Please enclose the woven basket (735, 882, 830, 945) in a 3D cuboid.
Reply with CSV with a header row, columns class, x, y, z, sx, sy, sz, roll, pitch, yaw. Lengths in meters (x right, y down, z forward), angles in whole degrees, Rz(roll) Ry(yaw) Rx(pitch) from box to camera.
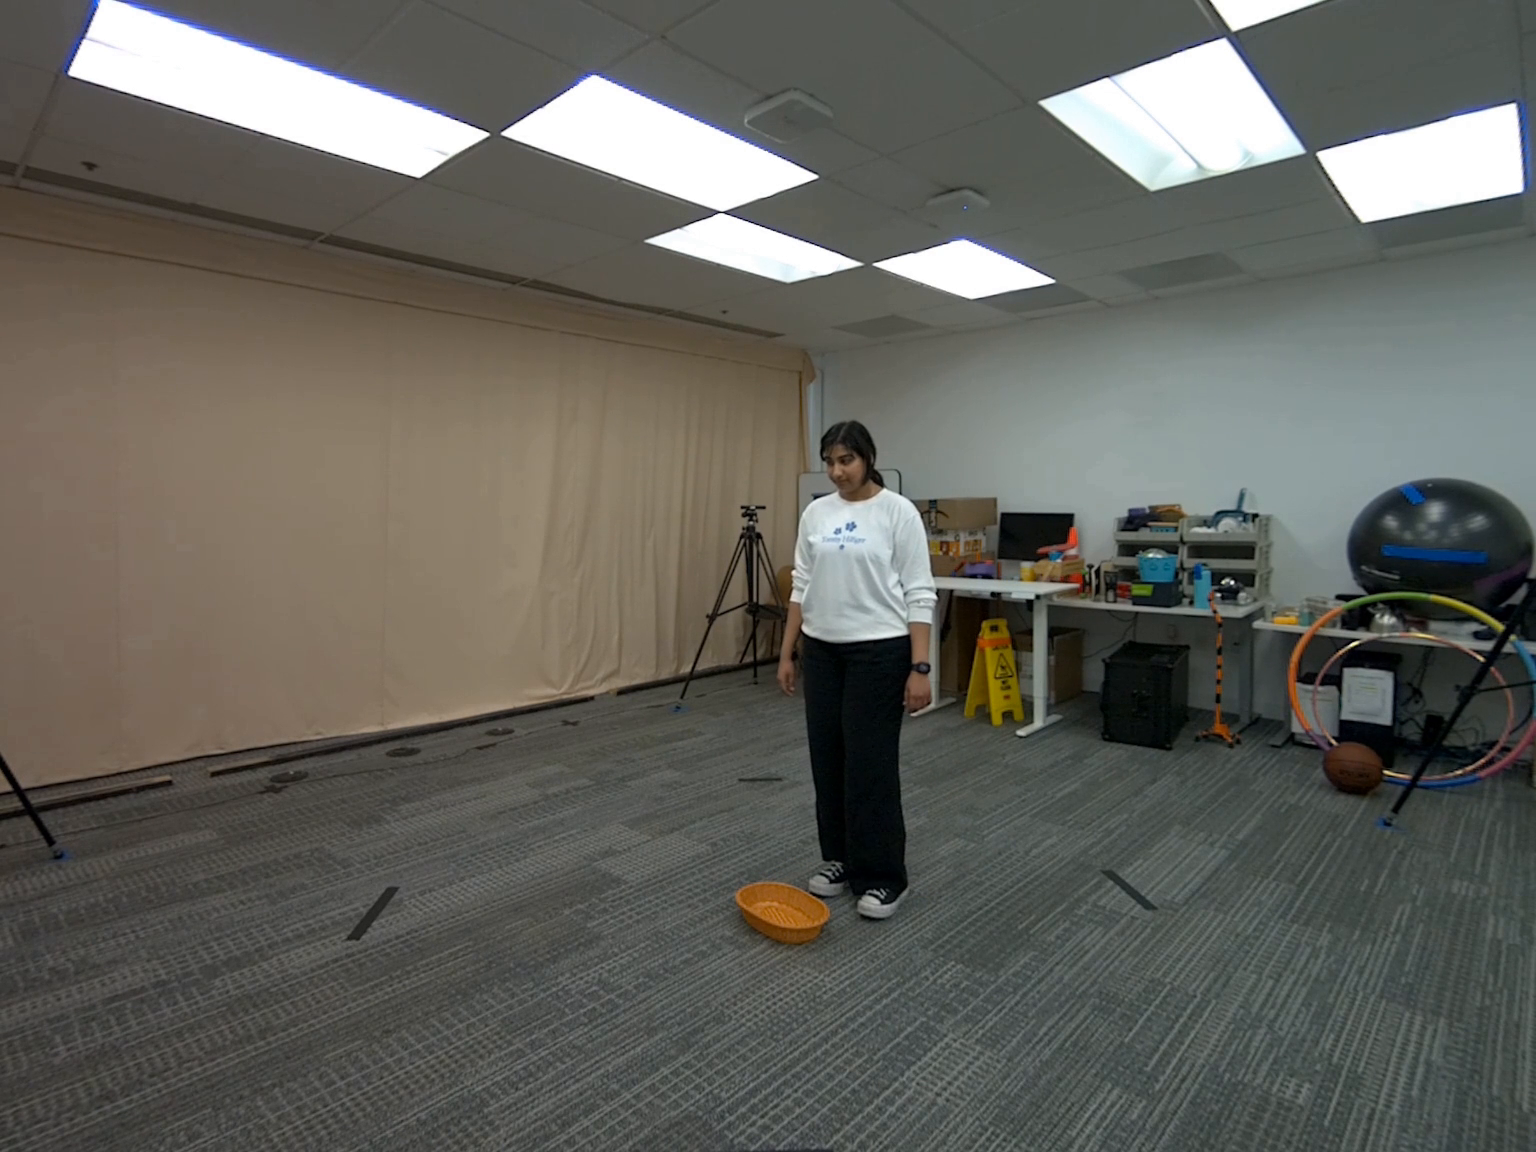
class,x,y,z,sx,sy,sz,roll,pitch,yaw
woven basket,0.055,1.117,2.806,0.245,0.073,0.361,-2,5,-35
